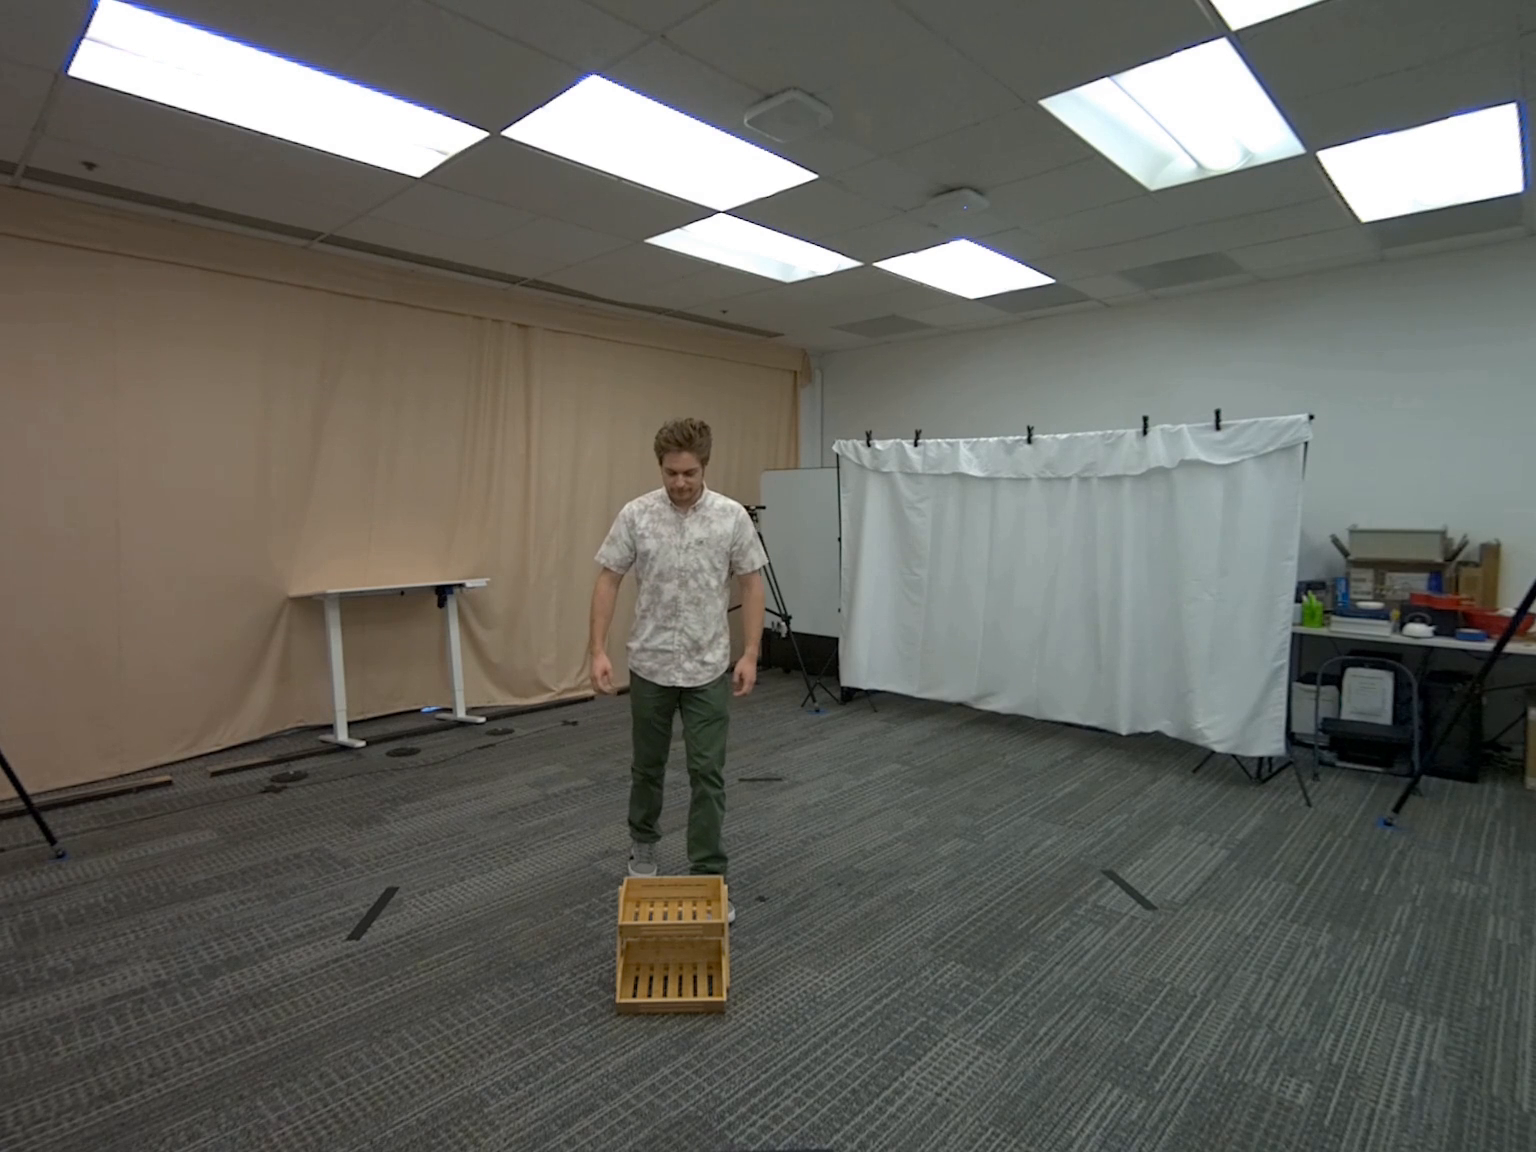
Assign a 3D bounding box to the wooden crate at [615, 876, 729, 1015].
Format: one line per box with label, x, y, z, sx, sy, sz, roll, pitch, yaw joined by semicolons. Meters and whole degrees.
wooden crate;-0.275;1.057;2.425;0.324;0.273;0.303;0;3;-3
